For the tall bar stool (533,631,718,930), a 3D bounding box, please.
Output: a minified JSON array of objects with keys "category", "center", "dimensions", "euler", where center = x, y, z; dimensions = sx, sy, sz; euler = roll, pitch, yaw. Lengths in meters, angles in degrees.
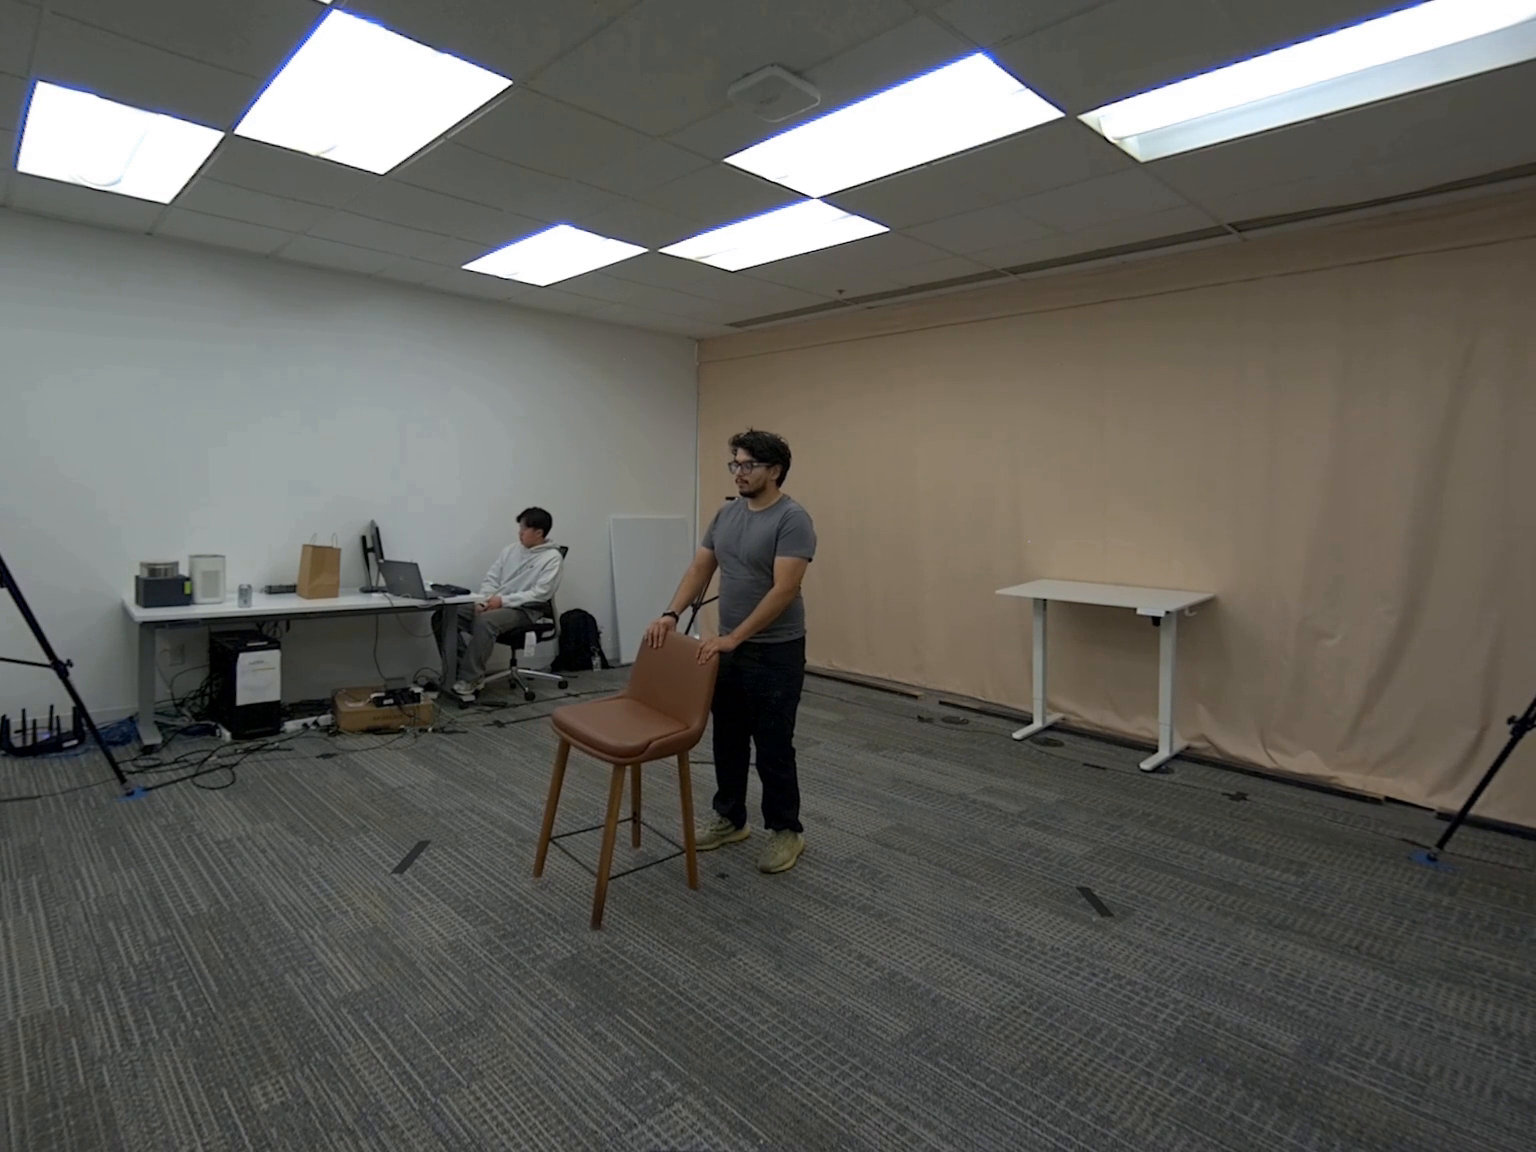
[{"category":"tall bar stool","center":[-0.493,0.663,2.940],"dimensions":[0.456,0.886,0.469],"euler":[1,8,-44]}]
